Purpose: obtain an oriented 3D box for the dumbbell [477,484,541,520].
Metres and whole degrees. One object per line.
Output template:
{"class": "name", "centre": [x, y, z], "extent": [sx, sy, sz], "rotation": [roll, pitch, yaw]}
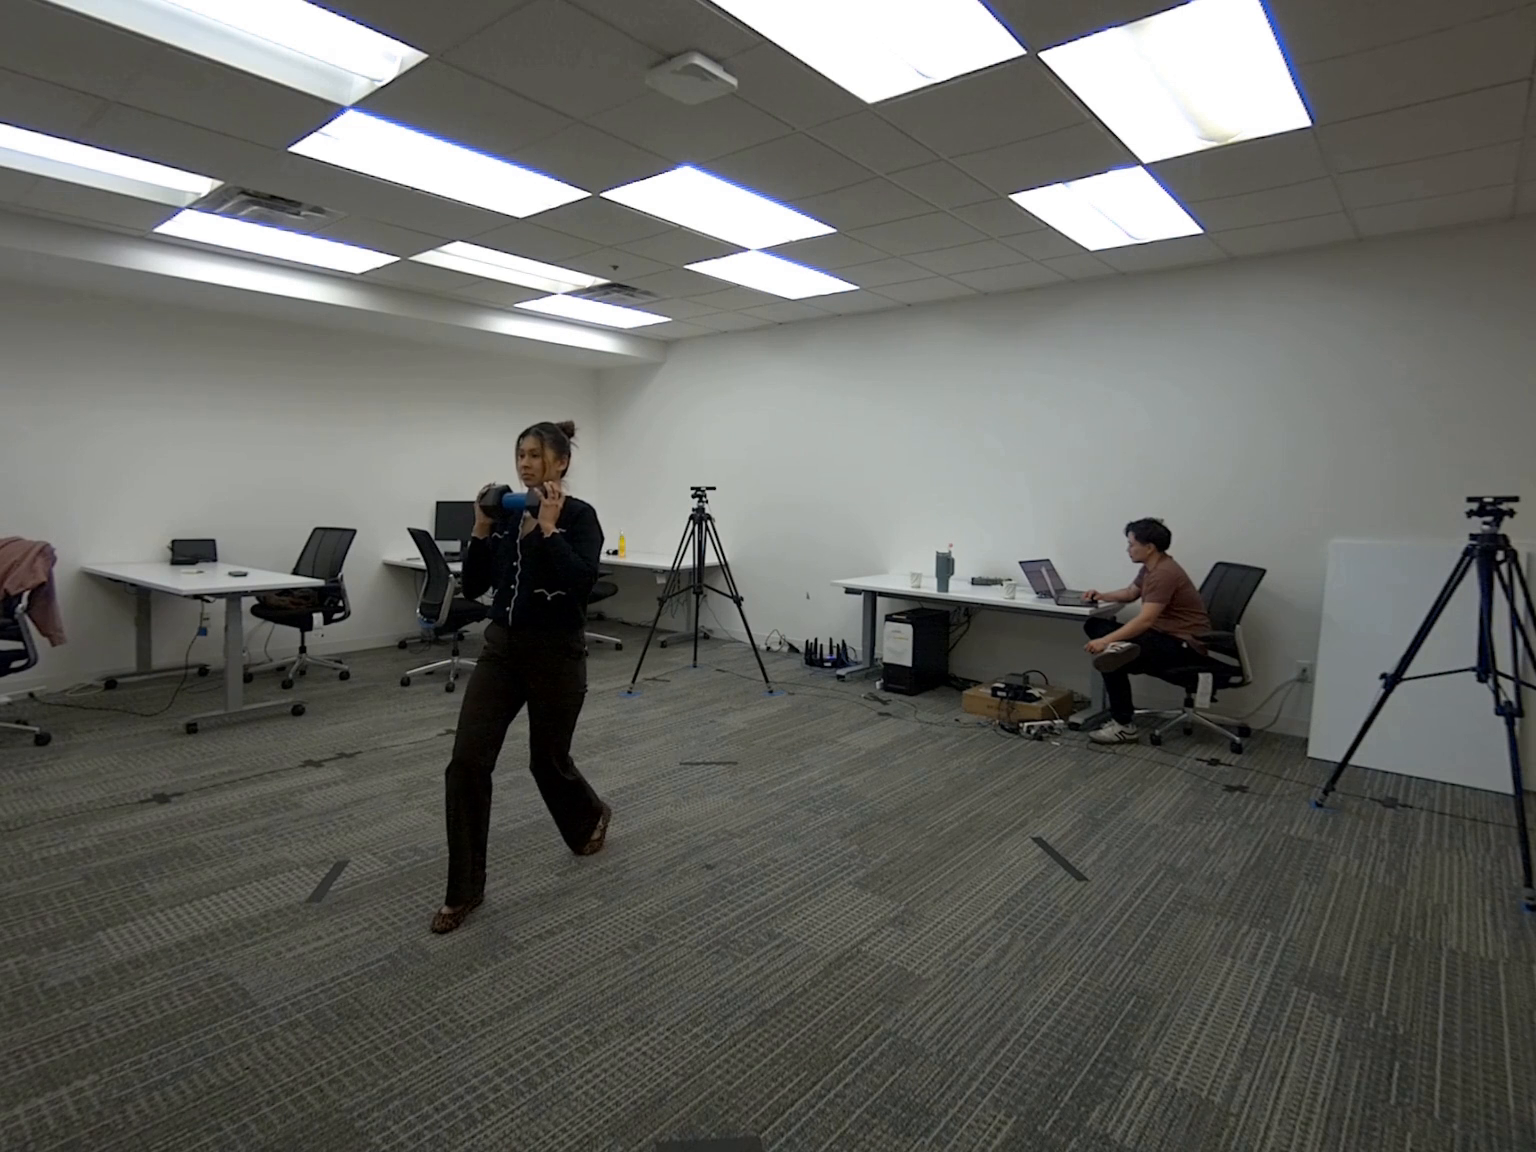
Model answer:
{"class": "dumbbell", "centre": [-0.875, -0.253, 2.934], "extent": [0.301, 0.118, 0.110], "rotation": [3, 47, 26]}
